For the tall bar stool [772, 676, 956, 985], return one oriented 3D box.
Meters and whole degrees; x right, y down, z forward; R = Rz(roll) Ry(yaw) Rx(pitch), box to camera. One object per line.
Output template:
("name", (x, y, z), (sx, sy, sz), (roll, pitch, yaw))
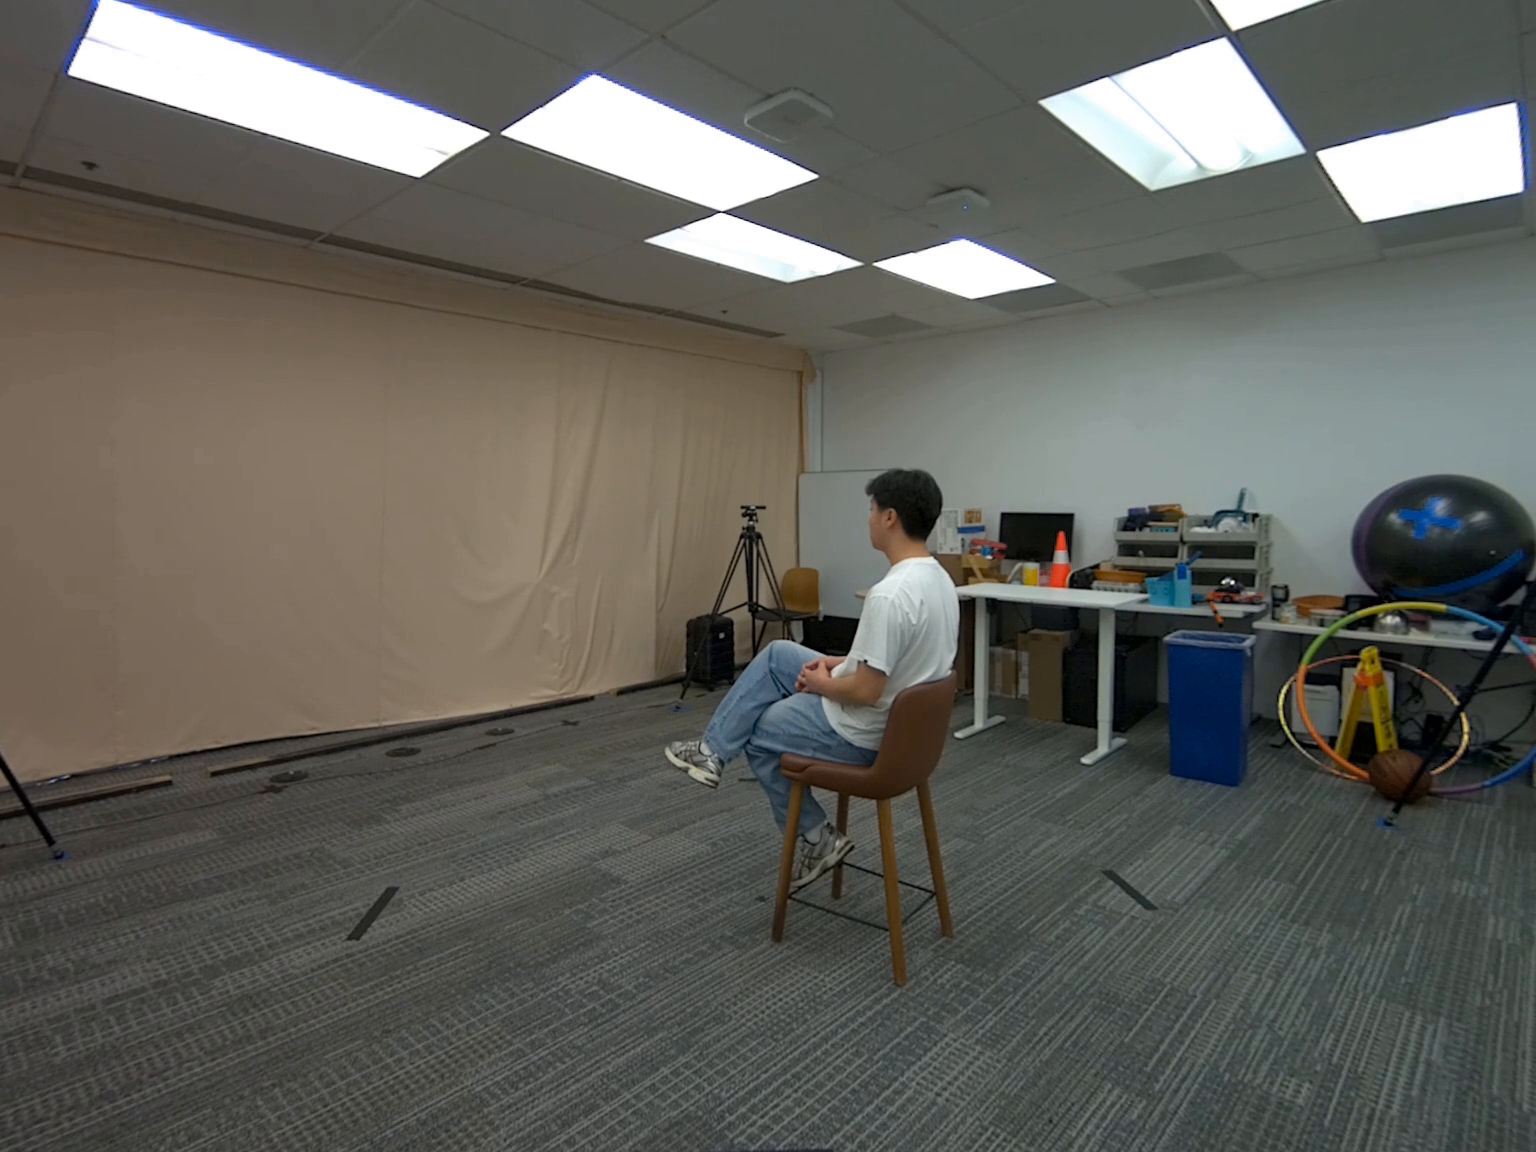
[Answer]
("tall bar stool", (0.323, 0.736, 2.682), (0.483, 0.887, 0.443), (5, 7, 36))
